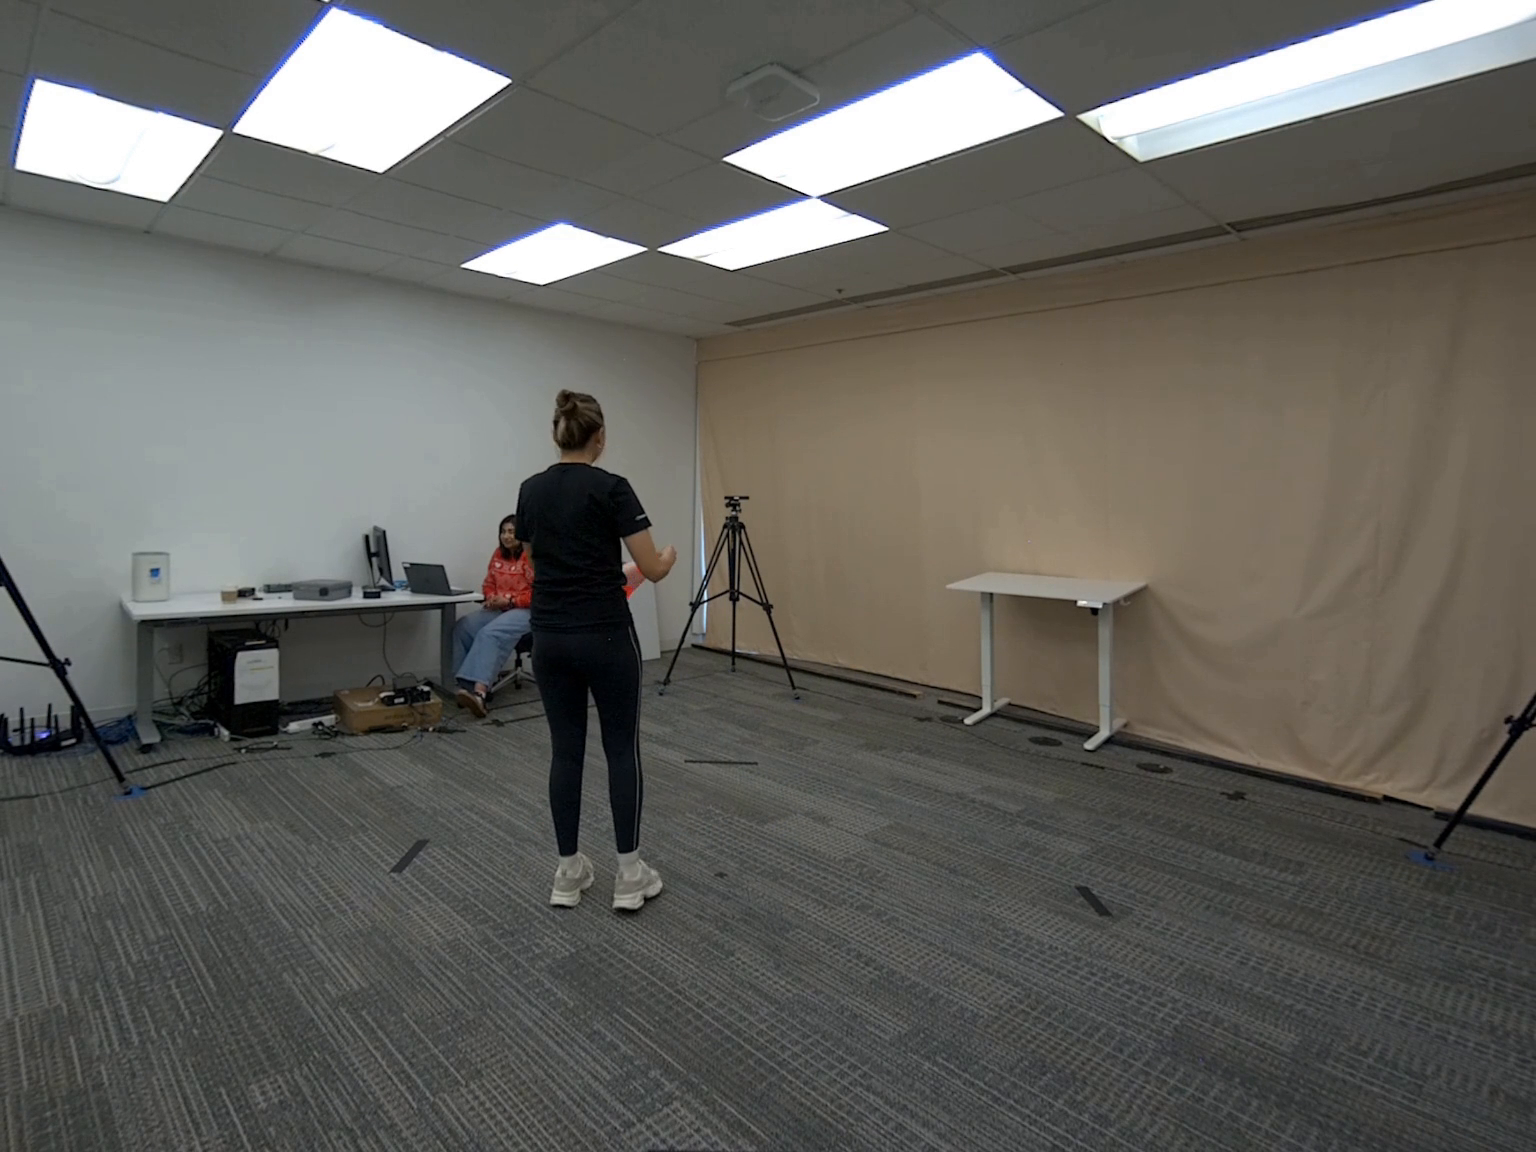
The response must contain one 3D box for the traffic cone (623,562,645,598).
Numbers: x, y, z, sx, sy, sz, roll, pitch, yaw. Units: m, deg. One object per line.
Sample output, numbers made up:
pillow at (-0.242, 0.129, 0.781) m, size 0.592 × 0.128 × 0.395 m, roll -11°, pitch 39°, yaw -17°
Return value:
traffic cone at (-0.528, -0.008, 3.252) m, size 0.199 × 0.207 × 0.387 m, roll 40°, pitch -43°, yaw -22°
